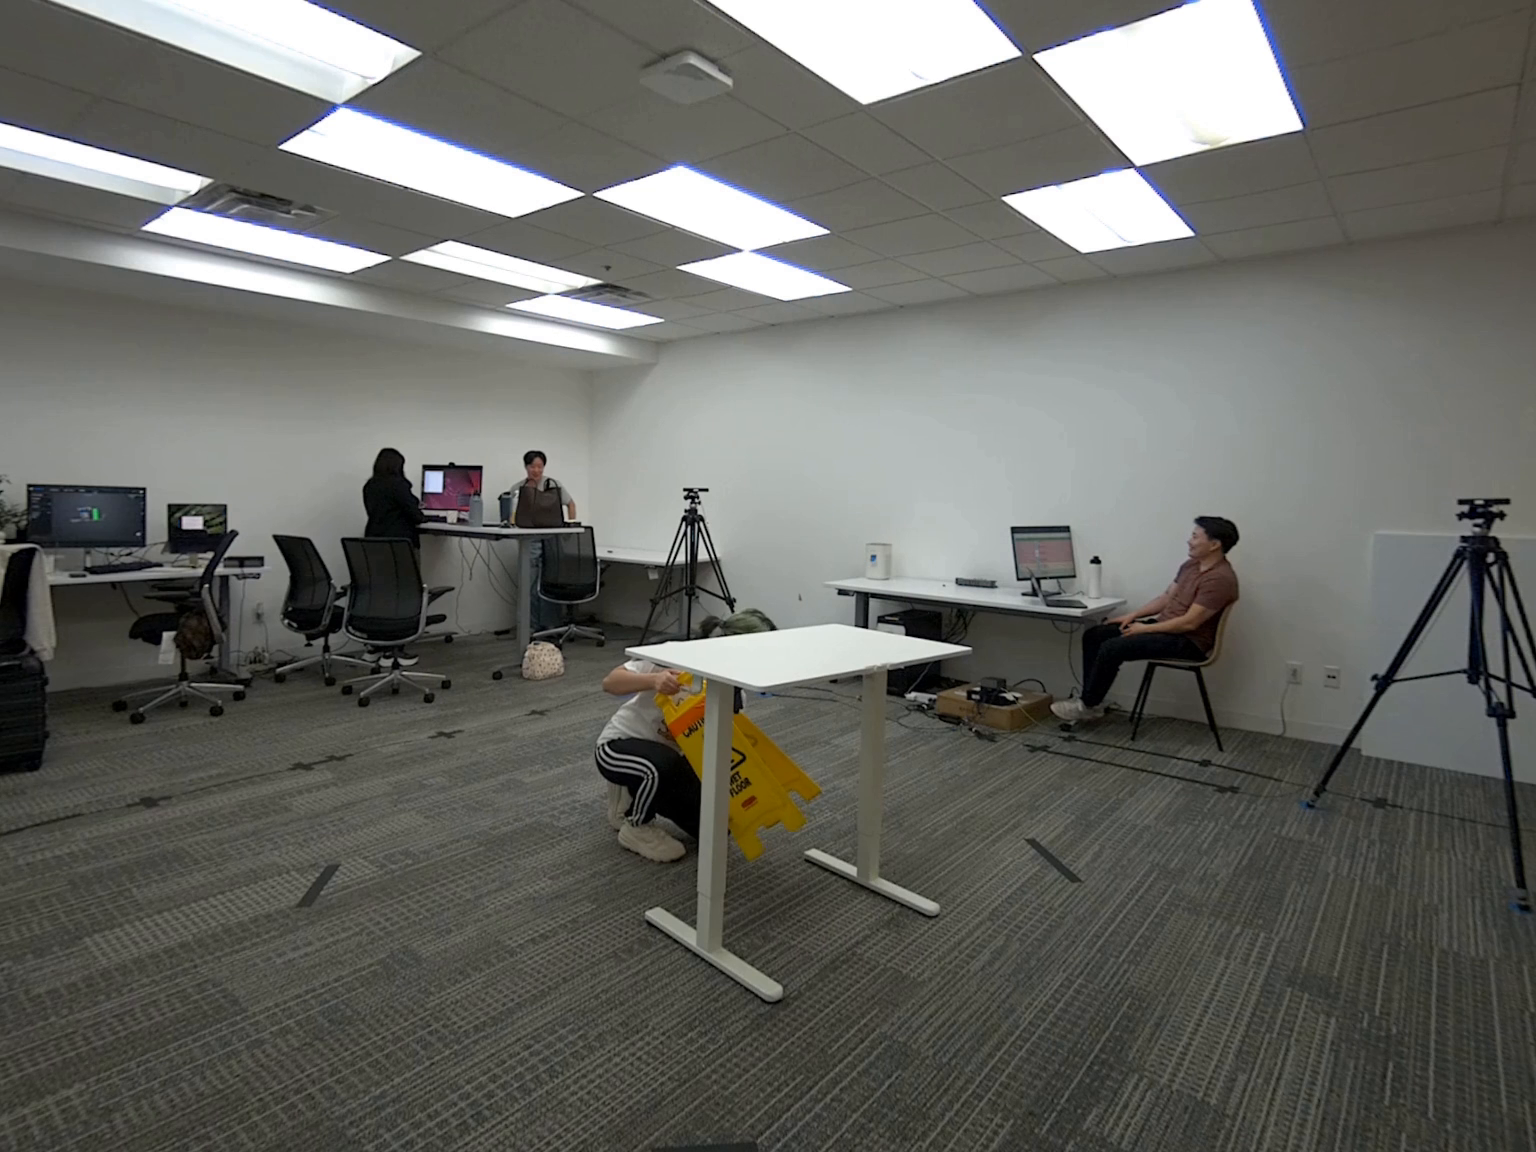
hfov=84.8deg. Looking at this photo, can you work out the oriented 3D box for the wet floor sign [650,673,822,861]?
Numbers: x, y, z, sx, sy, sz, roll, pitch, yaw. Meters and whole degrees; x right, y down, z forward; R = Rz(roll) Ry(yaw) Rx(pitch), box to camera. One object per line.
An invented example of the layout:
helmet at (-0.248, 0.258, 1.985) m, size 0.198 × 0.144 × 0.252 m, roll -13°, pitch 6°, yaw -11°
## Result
wet floor sign at (-0.150, 0.631, 3.036) m, size 0.283 × 0.651 × 0.287 m, roll -42°, pitch -4°, yaw 20°
